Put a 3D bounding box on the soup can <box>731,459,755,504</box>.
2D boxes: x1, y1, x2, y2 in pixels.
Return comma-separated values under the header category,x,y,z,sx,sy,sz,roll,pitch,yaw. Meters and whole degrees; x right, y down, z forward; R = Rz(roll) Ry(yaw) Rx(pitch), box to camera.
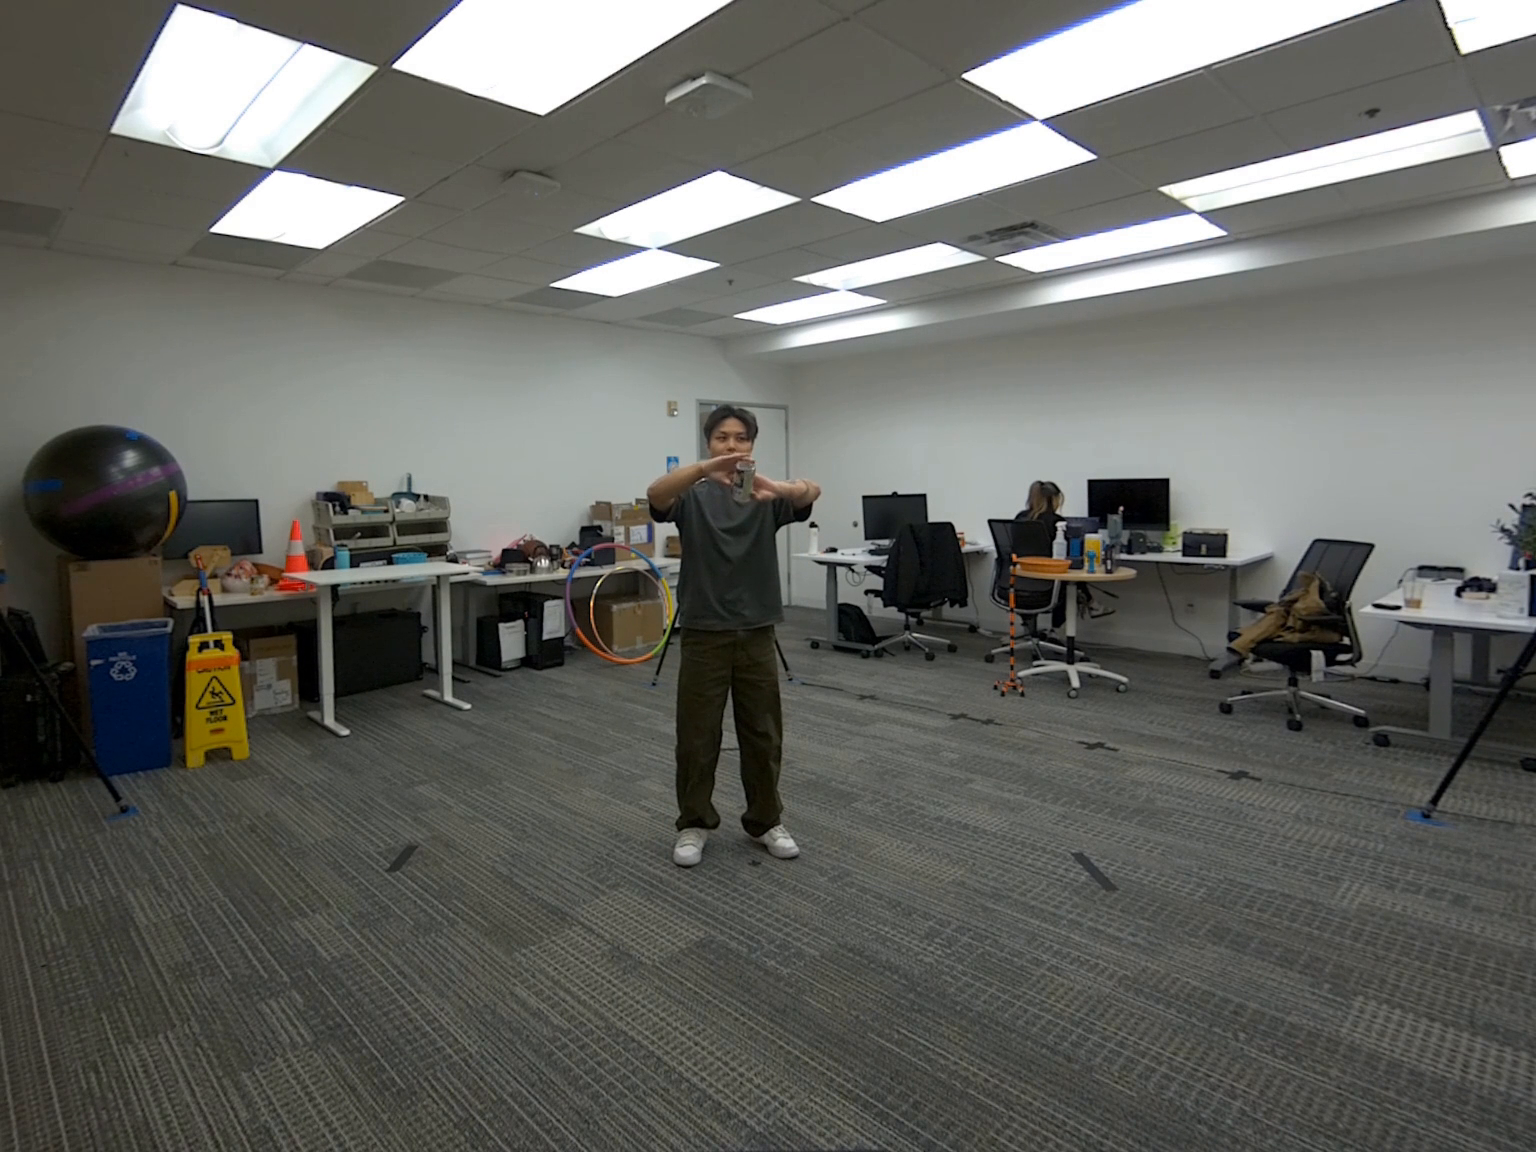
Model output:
category,x,y,z,sx,sy,sz,roll,pitch,yaw
soup can,-0.081,-0.292,2.729,0.067,0.119,0.068,-2,26,-1
